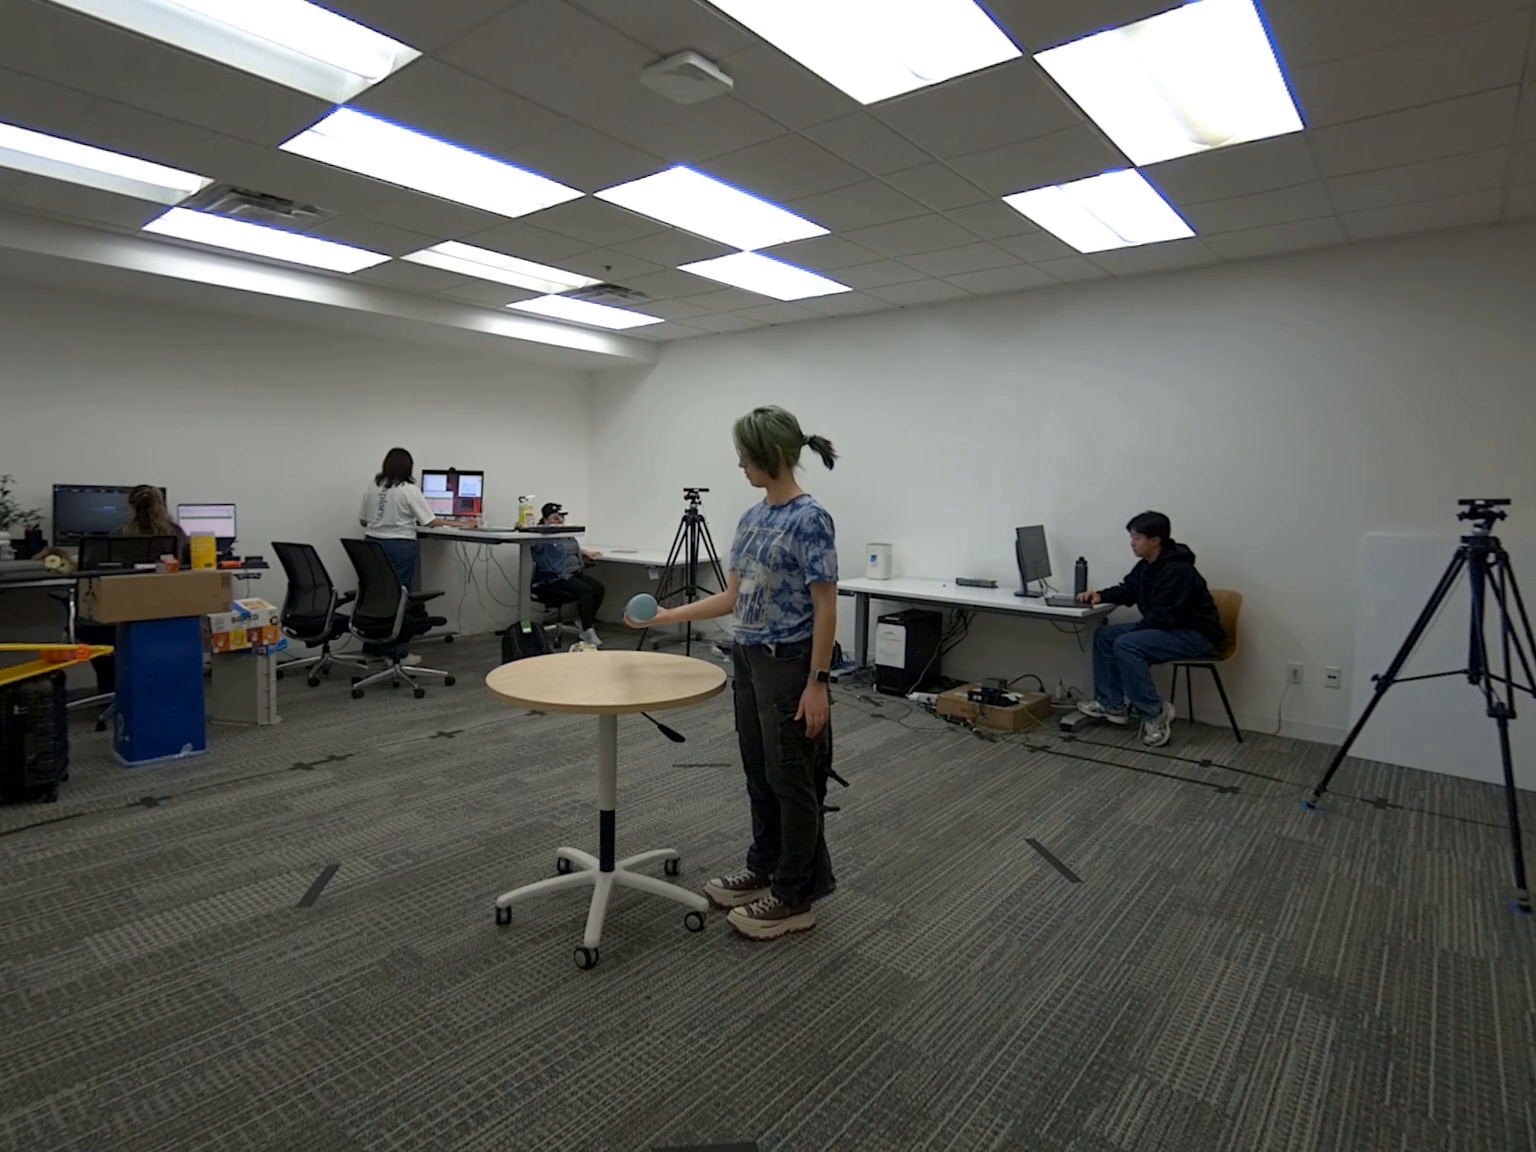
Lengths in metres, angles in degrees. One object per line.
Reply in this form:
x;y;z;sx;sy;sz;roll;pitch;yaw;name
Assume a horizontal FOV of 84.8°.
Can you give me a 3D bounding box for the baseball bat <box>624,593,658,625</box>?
-0.460;0.120;2.888;0.088;0.089;0.545;0;-4;-10;baseball bat
